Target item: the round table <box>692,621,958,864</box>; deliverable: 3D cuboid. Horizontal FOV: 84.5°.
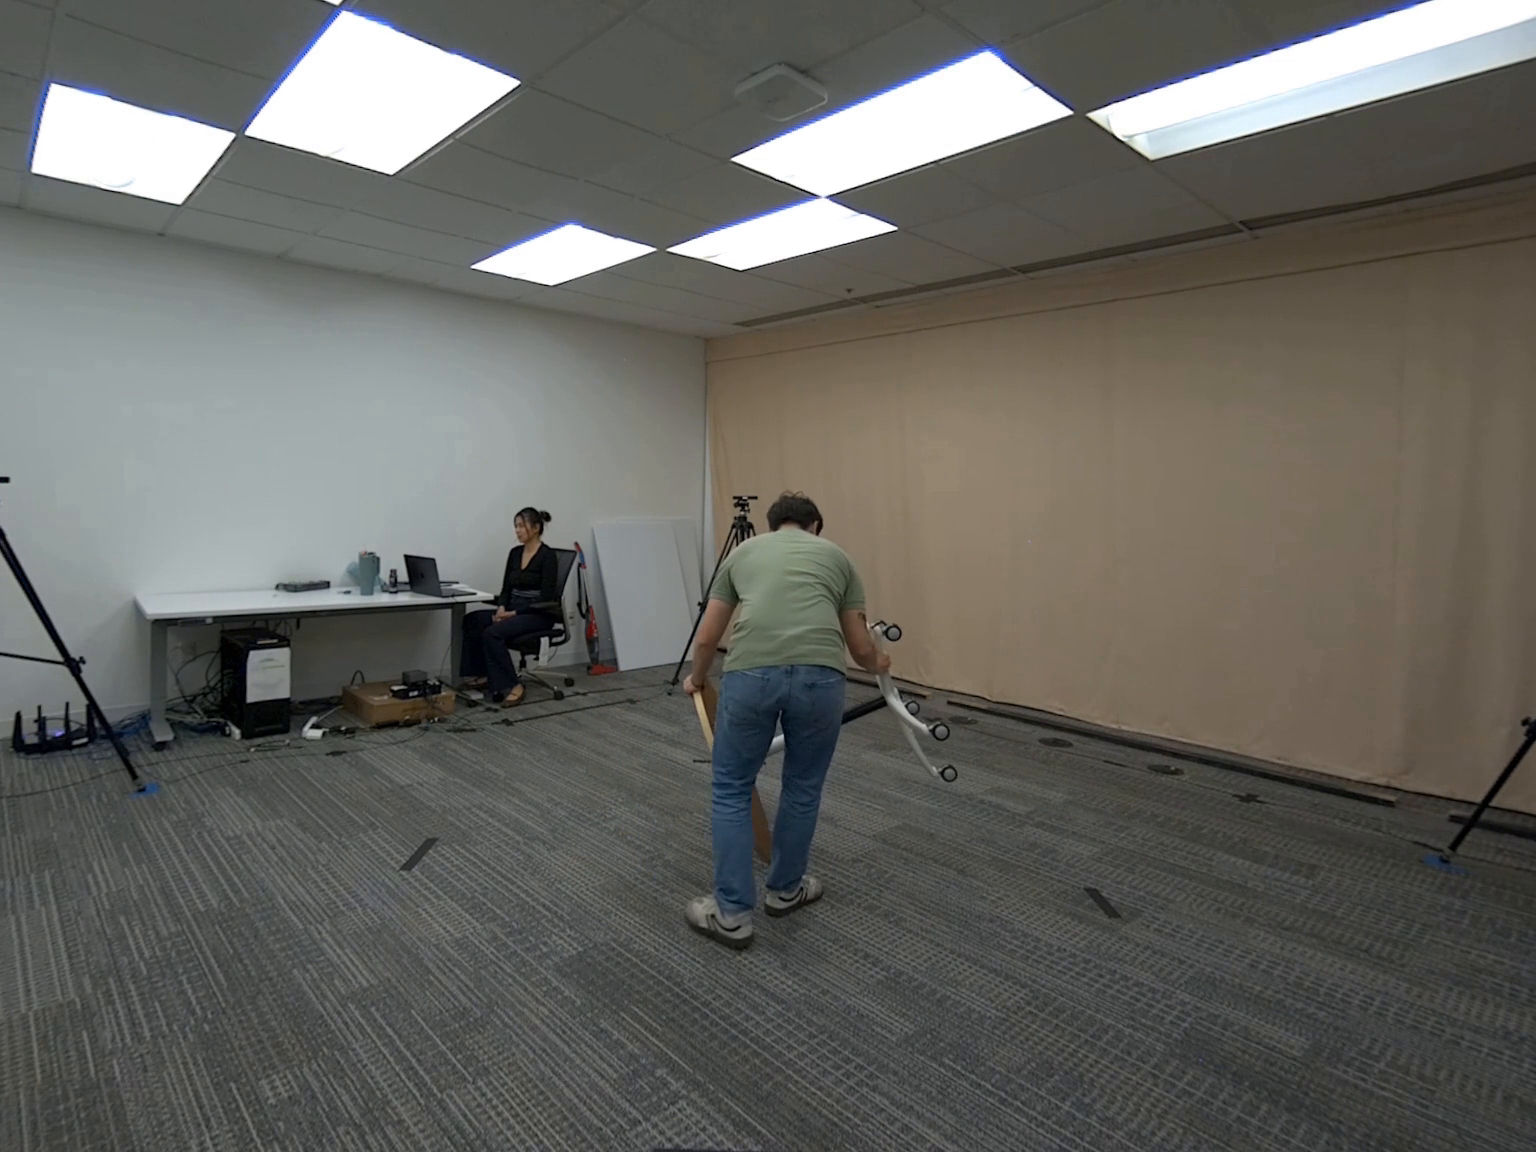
[{"bbox_3d":[0.214,0.590,3.282,0.794,0.761,0.767,-23,5,0],"label":"round table"}]
